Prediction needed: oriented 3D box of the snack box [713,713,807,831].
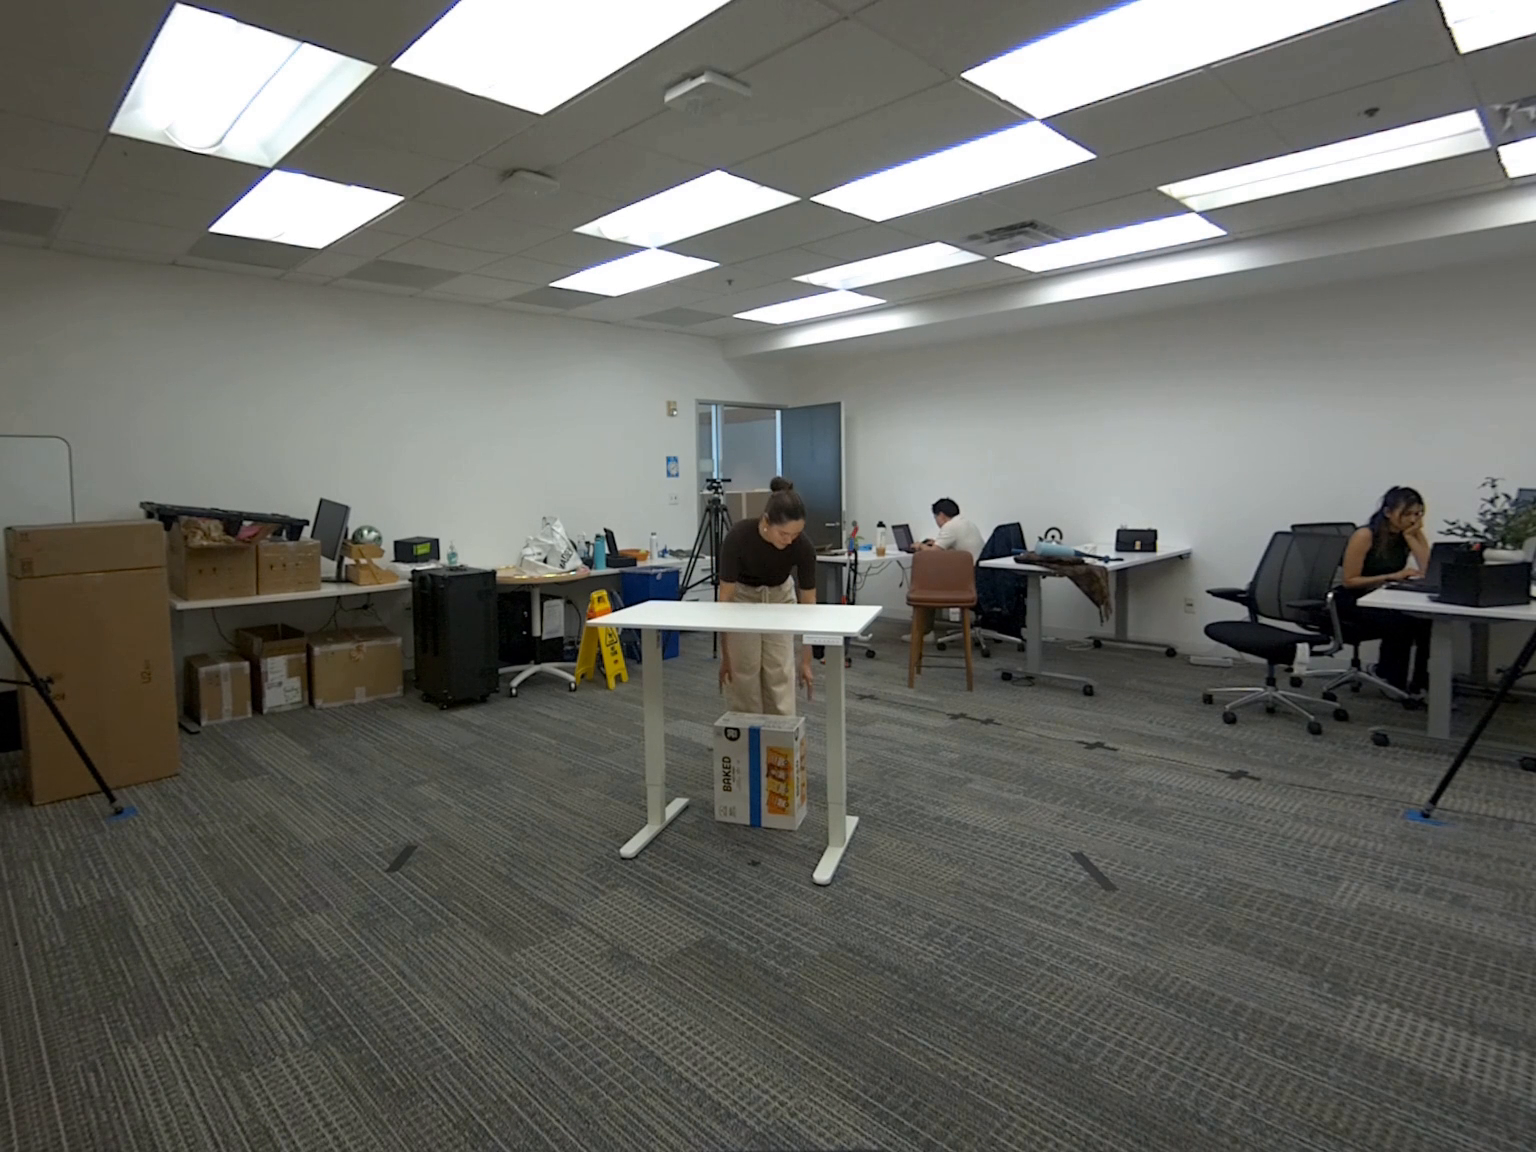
[{"bbox_3d":[-0.031,0.796,3.516,0.346,0.403,0.203,0,6,18],"label":"snack box"}]
